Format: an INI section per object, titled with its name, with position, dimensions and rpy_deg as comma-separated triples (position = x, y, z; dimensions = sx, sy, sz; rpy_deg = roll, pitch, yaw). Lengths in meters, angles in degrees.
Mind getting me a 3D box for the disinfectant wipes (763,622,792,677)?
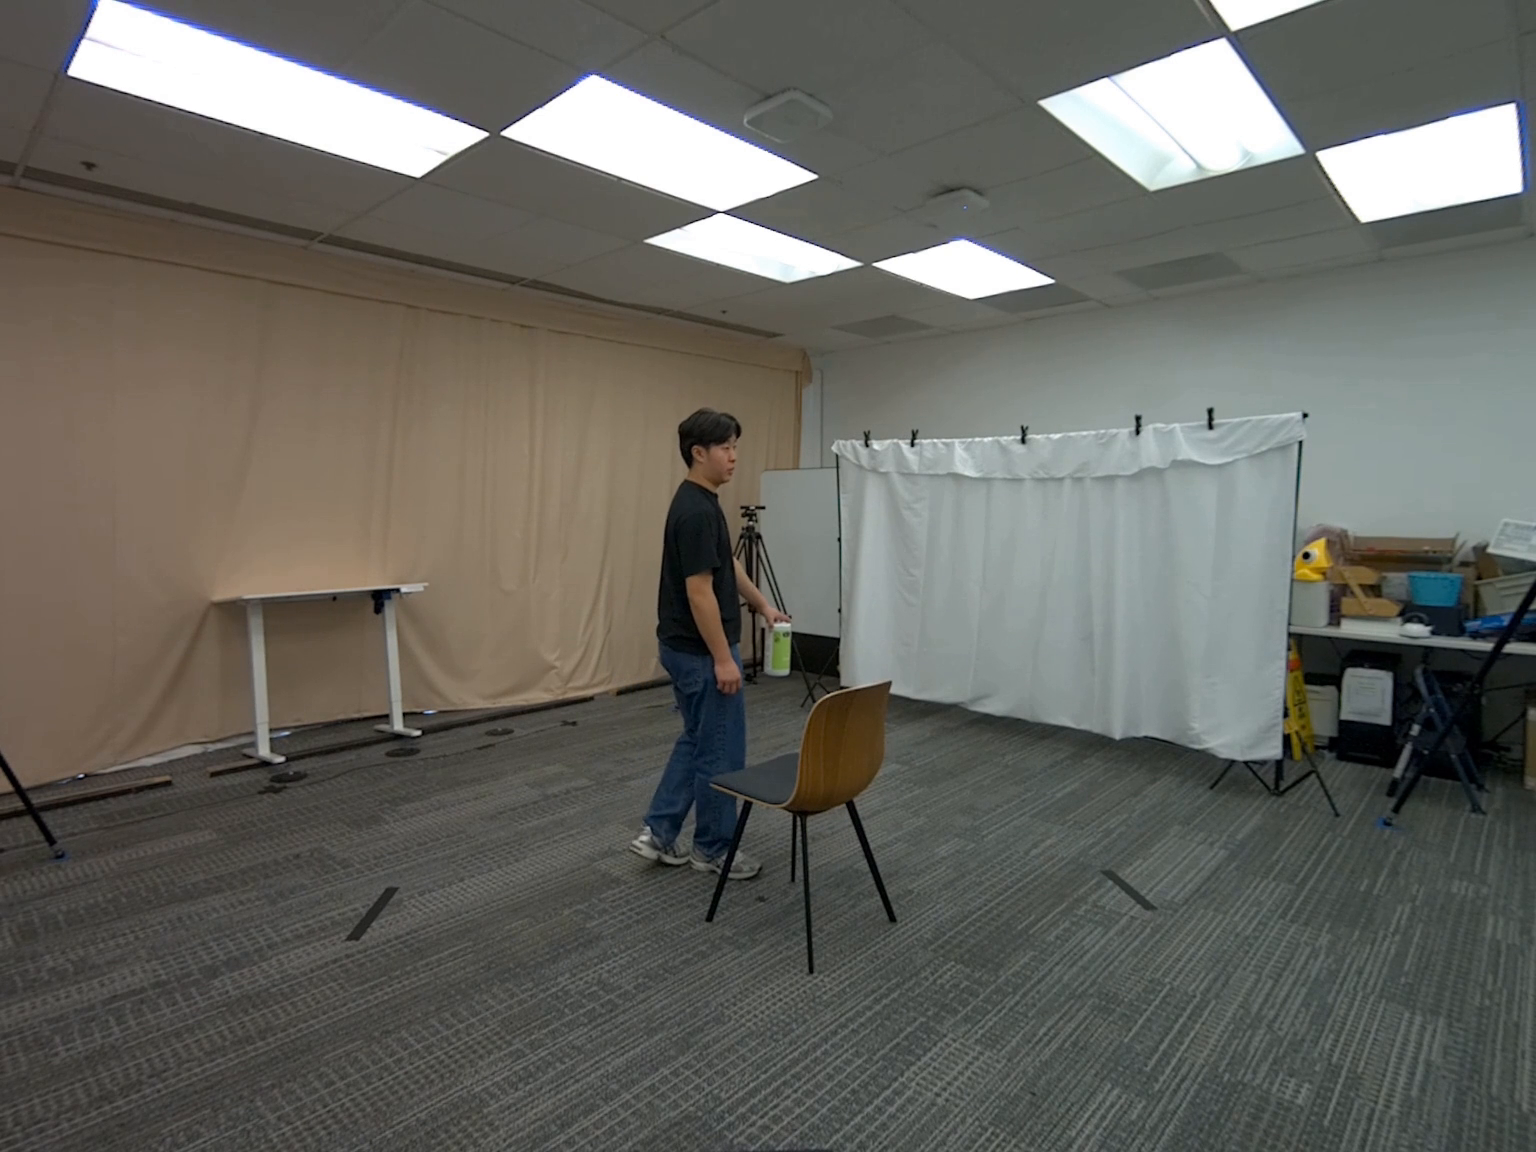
[disinfectant wipes]
position = 0.043, 0.306, 3.560
dimensions = 0.118, 0.217, 0.118
rpy_deg = 0, 5, -2
